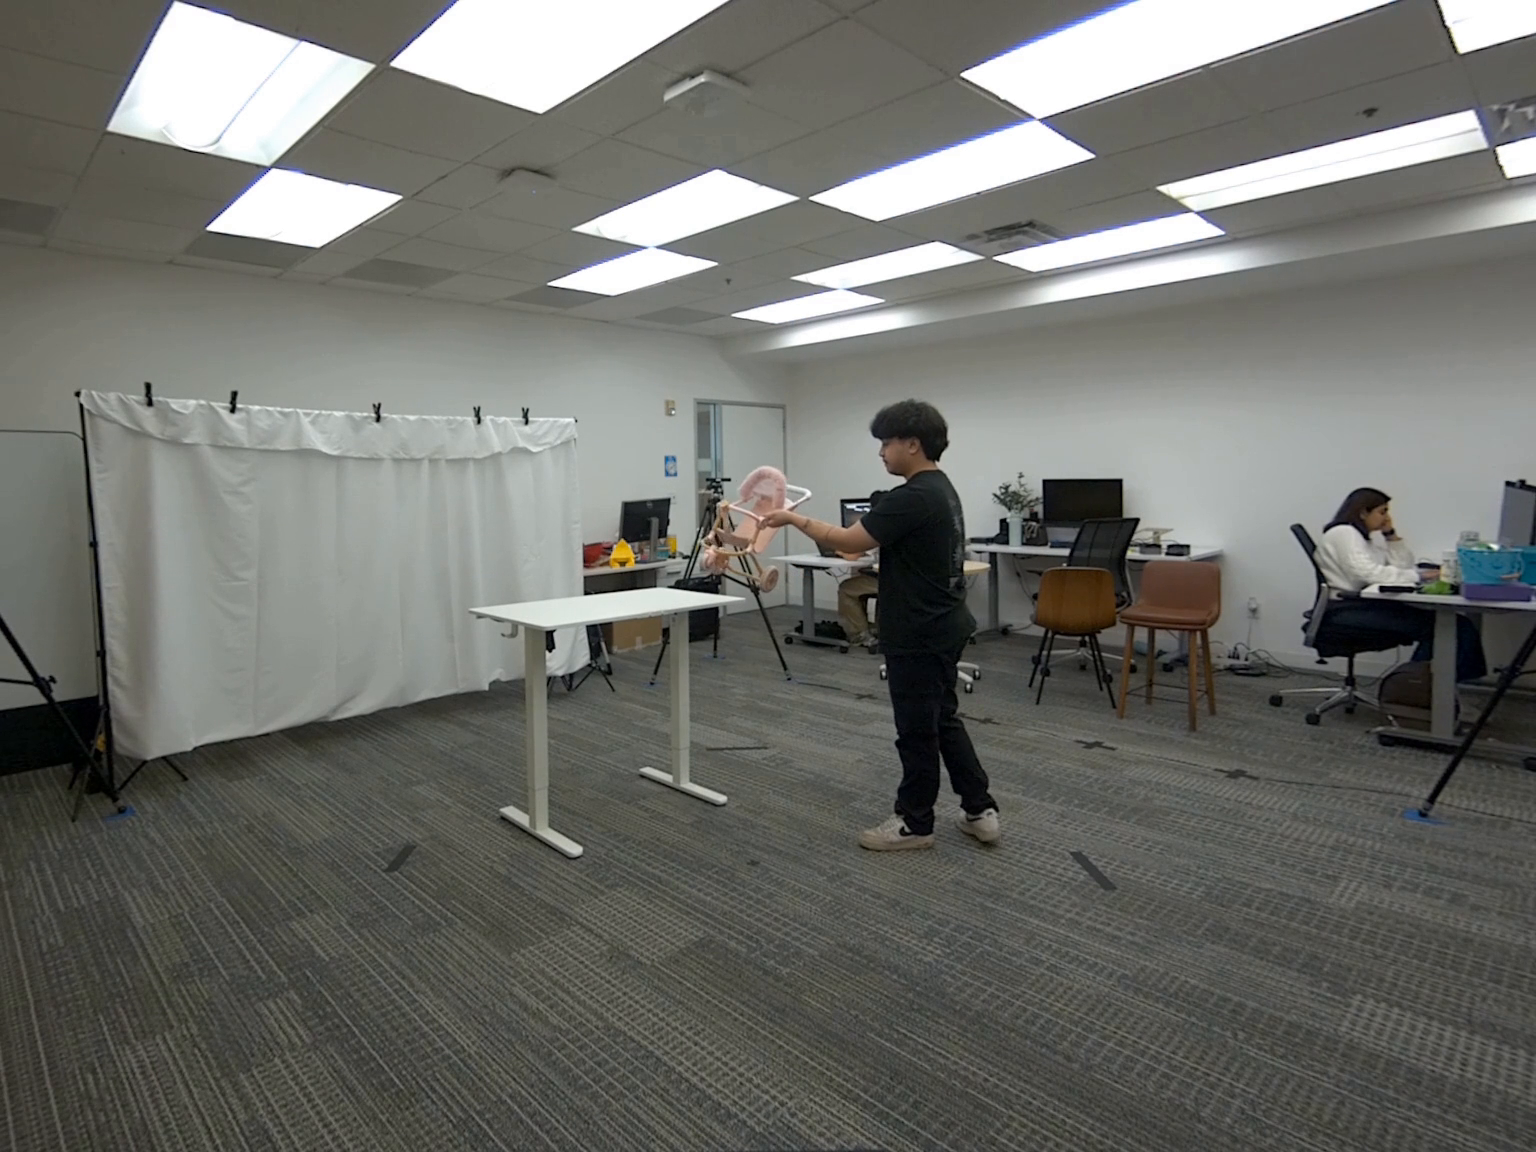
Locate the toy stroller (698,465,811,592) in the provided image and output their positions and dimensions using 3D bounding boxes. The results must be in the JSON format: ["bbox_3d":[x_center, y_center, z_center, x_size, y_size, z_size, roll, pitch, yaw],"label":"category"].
[{"bbox_3d":[-0.069,-0.203,3.314,0.291,0.537,0.328,17,-17,37],"label":"toy stroller"}]
